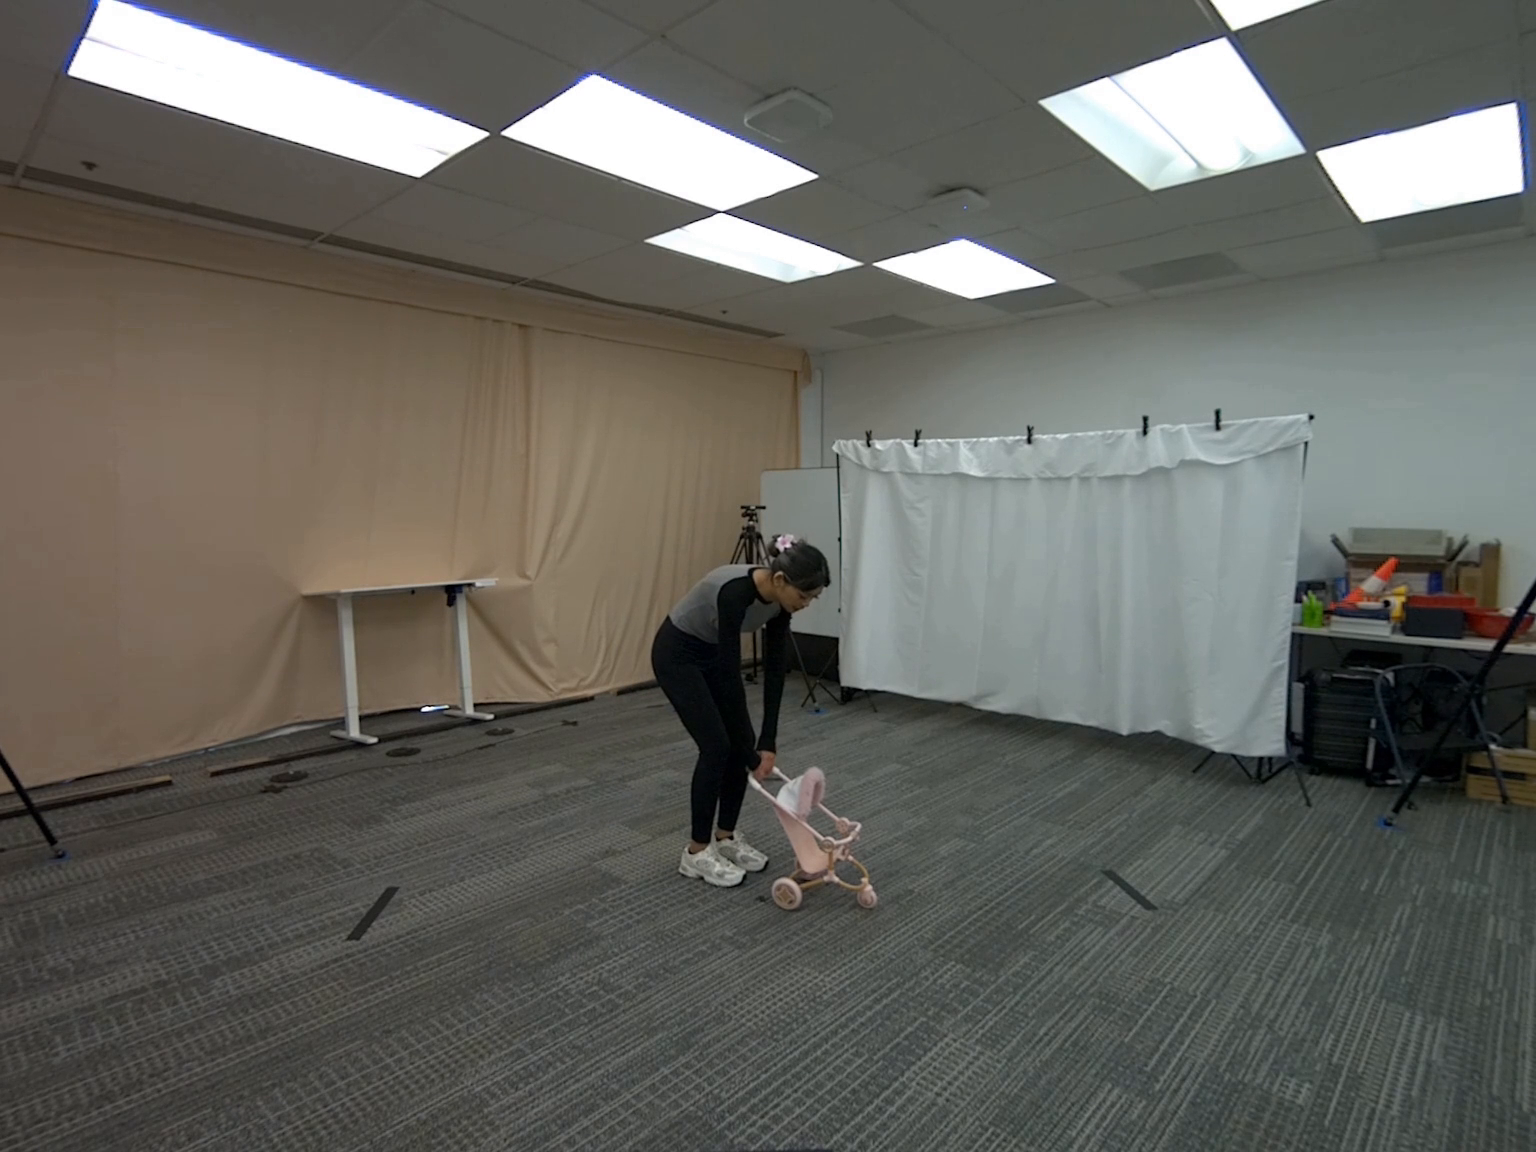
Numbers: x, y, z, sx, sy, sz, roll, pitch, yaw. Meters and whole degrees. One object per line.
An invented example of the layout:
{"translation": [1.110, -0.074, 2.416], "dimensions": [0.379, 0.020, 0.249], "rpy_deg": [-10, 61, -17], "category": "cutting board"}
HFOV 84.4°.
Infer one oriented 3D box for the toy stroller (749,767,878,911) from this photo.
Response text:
{"translation": [0.170, 0.918, 2.975], "dimensions": [0.349, 0.536, 0.274], "rpy_deg": [-16, -3, 27], "category": "toy stroller"}
